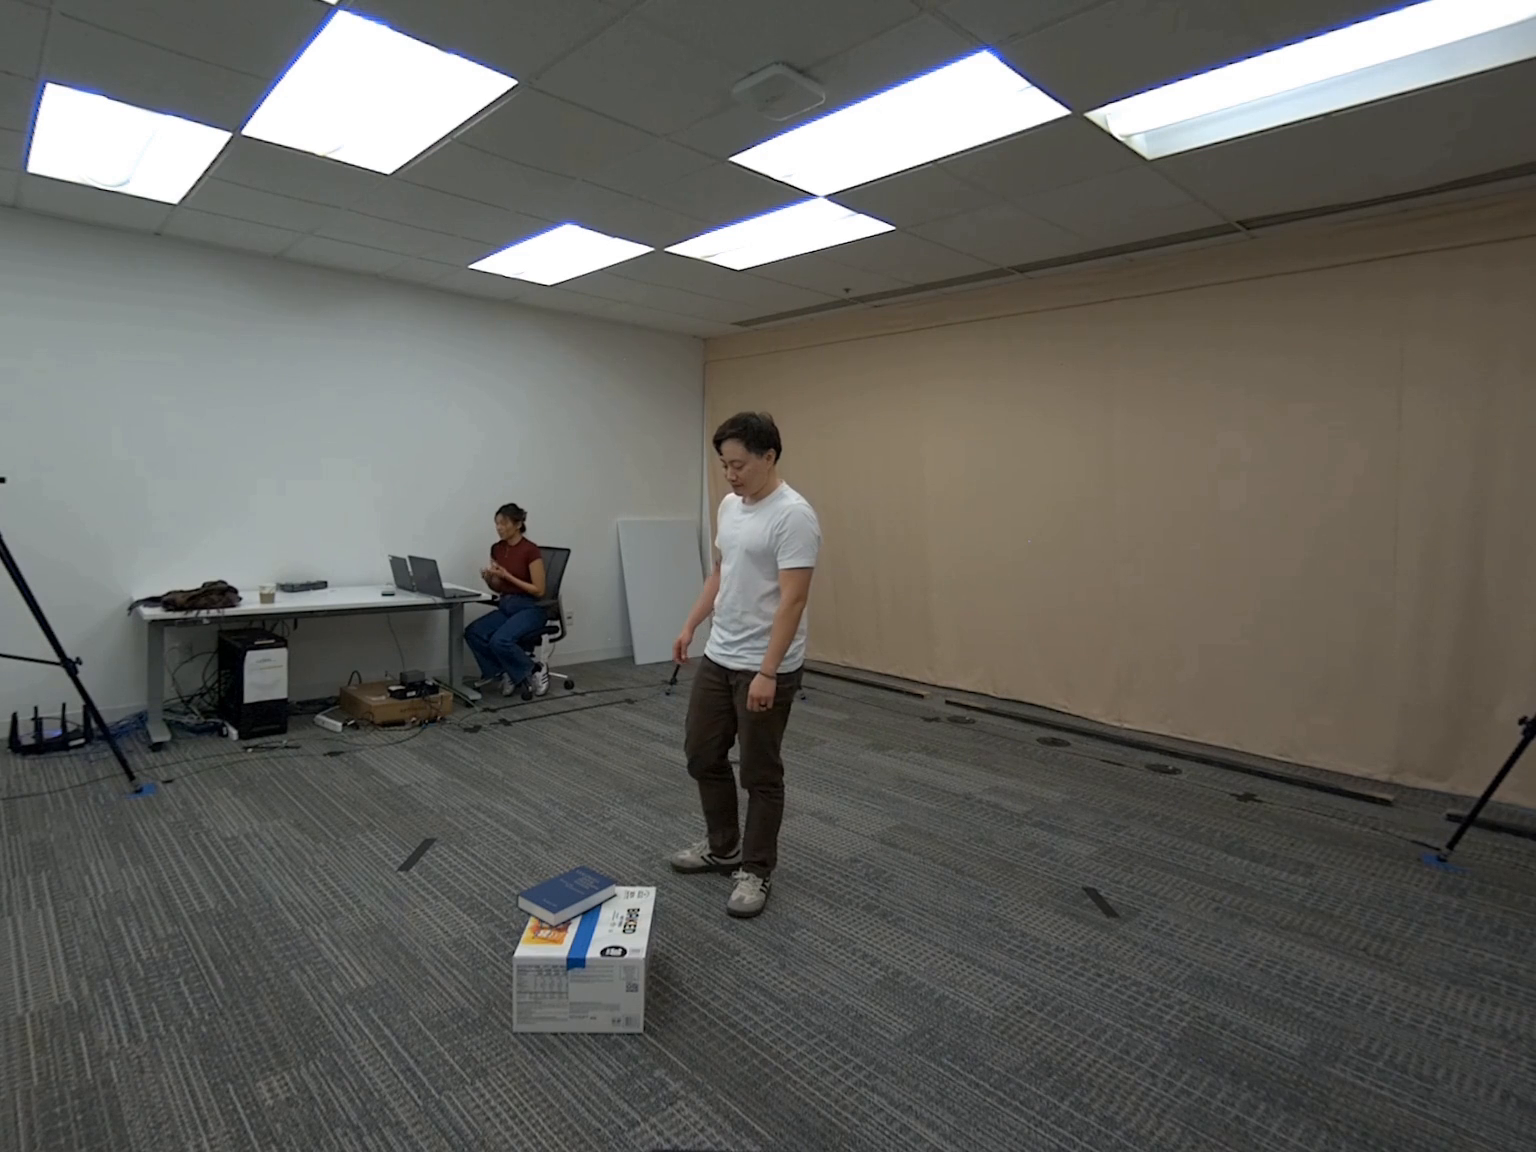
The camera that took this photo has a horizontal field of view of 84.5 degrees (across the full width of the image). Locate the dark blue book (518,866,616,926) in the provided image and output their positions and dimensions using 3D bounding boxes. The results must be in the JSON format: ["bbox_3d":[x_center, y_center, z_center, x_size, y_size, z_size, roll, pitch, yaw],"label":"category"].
[{"bbox_3d":[-0.585,0.933,2.449,0.167,0.045,0.240,7,8,36],"label":"dark blue book"}]
